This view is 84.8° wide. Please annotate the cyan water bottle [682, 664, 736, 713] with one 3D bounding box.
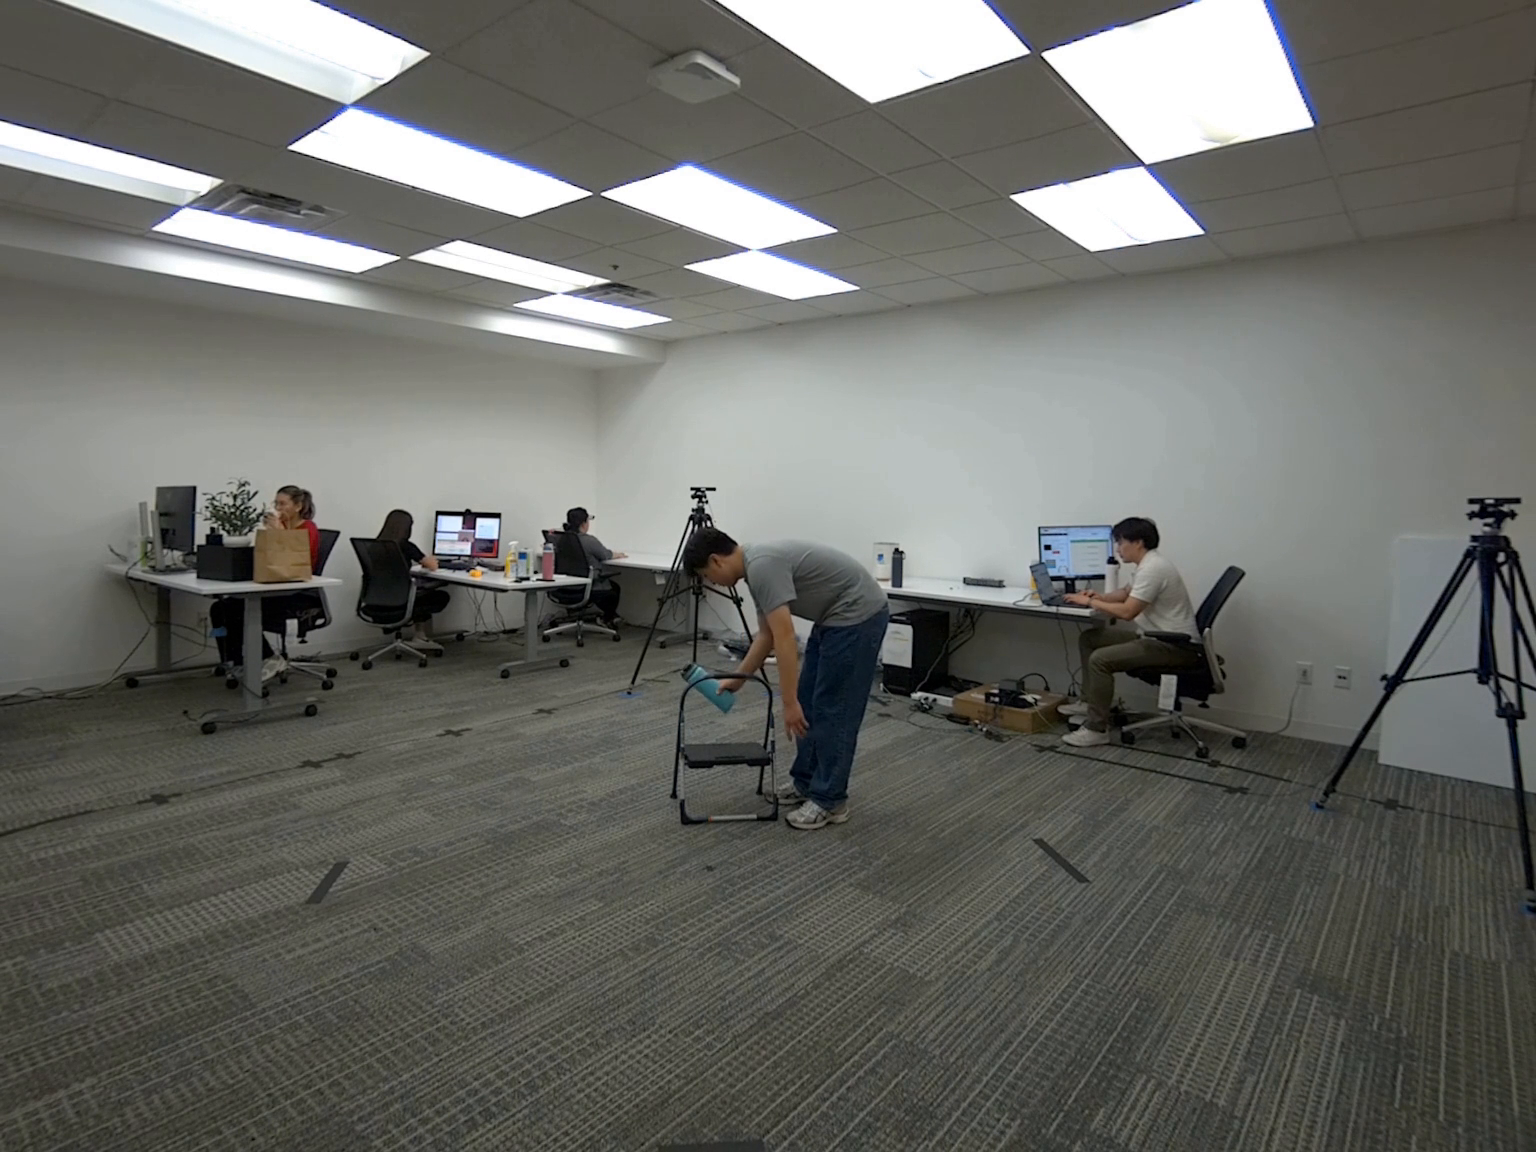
[{"bbox_3d":[-0.276,0.505,3.833,0.284,0.092,0.092,39,5,2],"label":"cyan water bottle"}]
